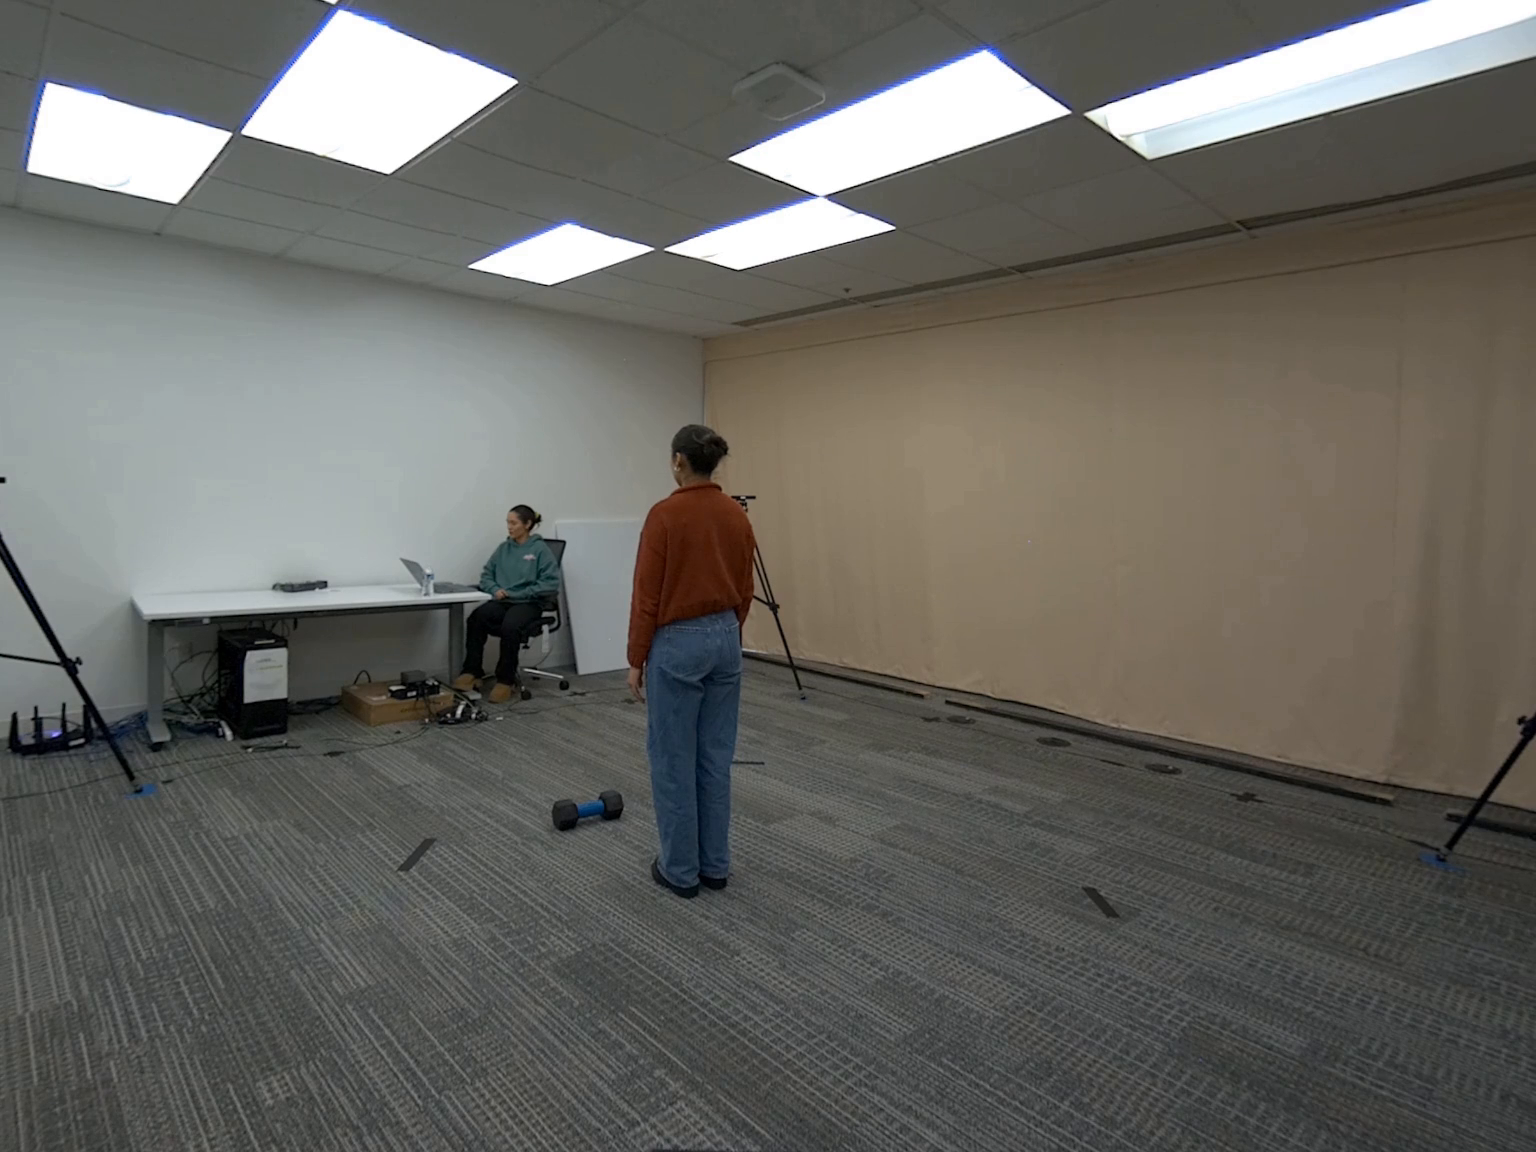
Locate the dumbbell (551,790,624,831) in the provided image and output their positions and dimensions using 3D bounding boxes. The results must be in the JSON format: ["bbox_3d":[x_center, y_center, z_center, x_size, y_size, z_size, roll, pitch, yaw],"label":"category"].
[{"bbox_3d":[-0.773,0.993,3.573,0.287,0.125,0.109,-2,-23,-36],"label":"dumbbell"}]
